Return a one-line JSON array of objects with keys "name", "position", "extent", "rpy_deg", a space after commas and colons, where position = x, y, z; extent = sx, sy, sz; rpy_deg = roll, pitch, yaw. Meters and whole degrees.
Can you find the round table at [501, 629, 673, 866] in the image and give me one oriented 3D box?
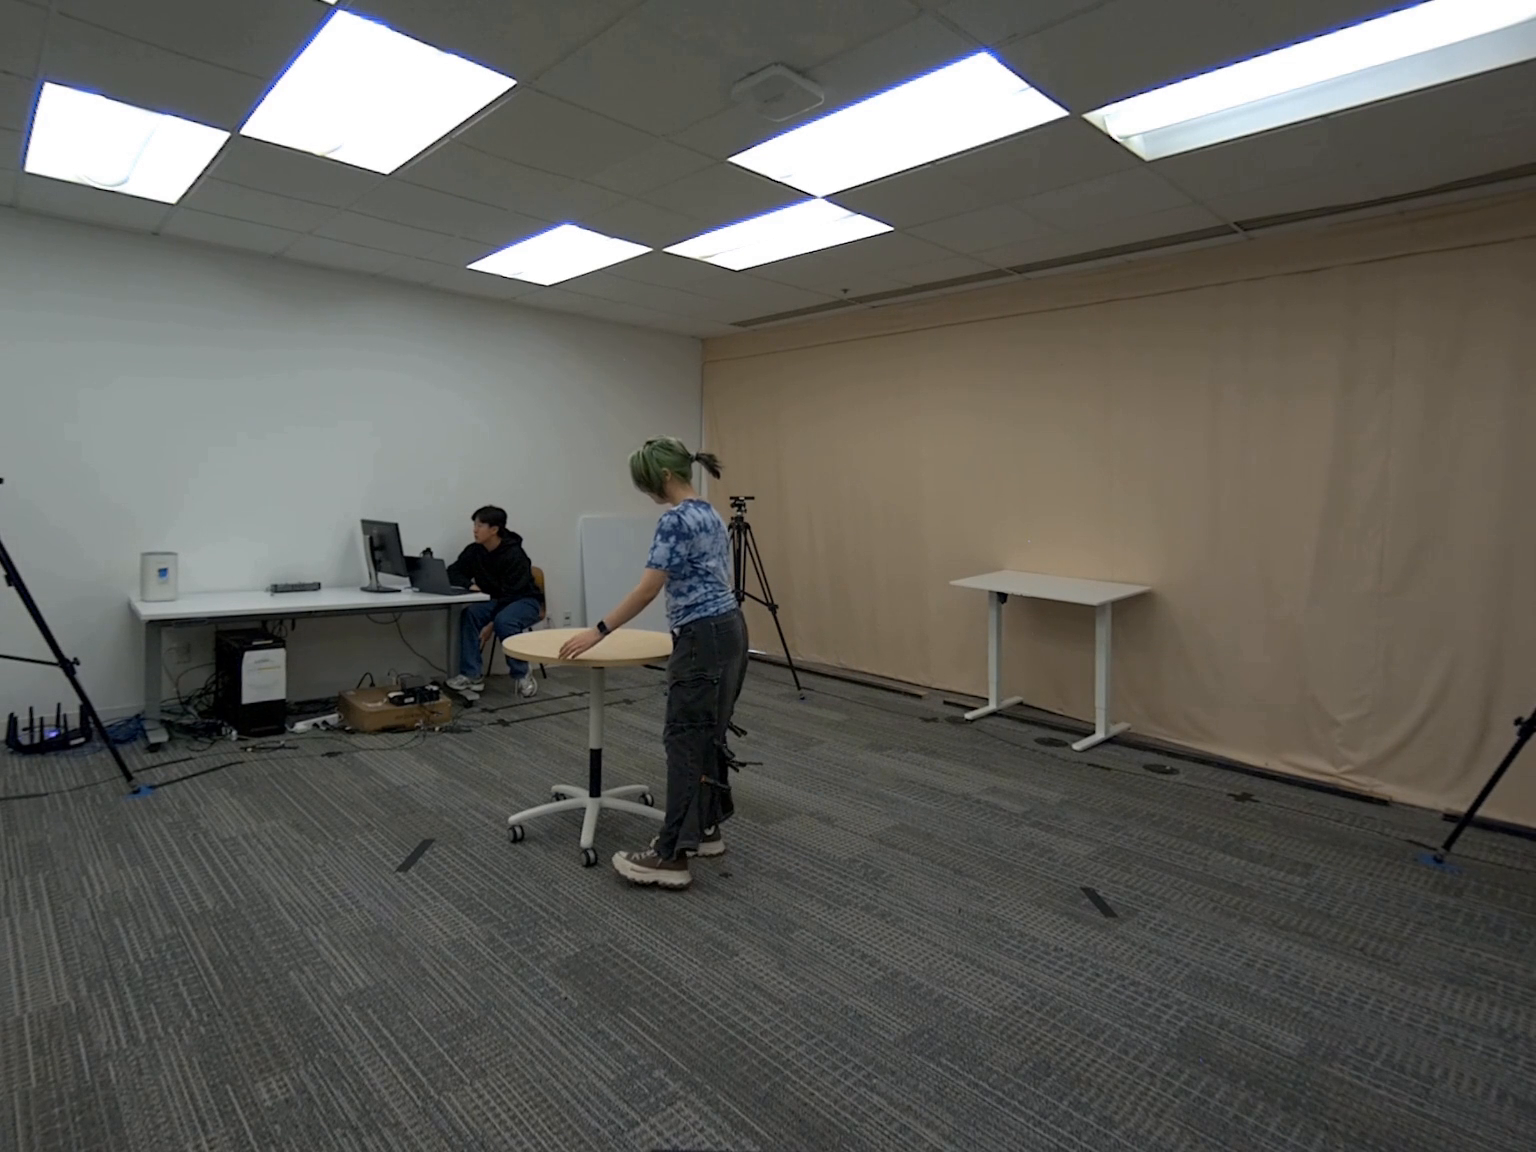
[{"name": "round table", "position": [-0.722, 0.666, 3.490], "extent": [0.763, 0.792, 0.766], "rpy_deg": [1, 4, -1]}]
